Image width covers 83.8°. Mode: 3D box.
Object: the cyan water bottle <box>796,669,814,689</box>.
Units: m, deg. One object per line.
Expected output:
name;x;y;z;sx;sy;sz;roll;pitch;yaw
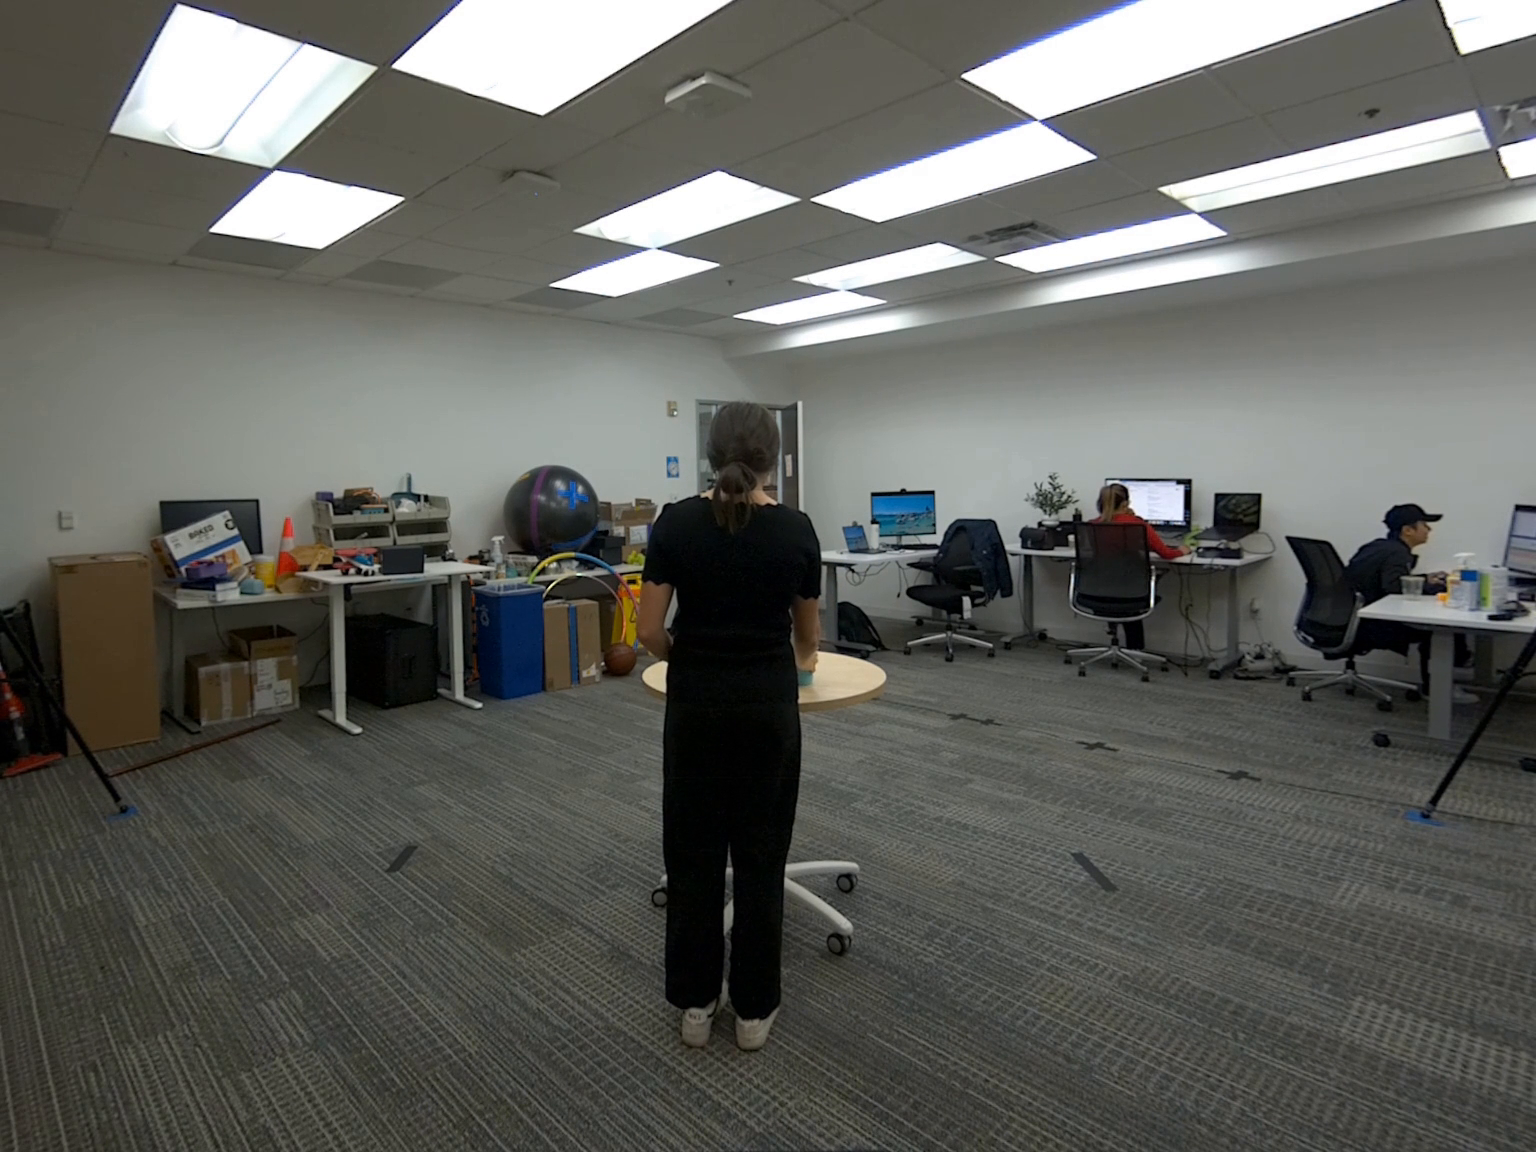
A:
cyan water bottle;0.099;0.178;2.565;0.092;0.283;0.092;-1;2;-2
